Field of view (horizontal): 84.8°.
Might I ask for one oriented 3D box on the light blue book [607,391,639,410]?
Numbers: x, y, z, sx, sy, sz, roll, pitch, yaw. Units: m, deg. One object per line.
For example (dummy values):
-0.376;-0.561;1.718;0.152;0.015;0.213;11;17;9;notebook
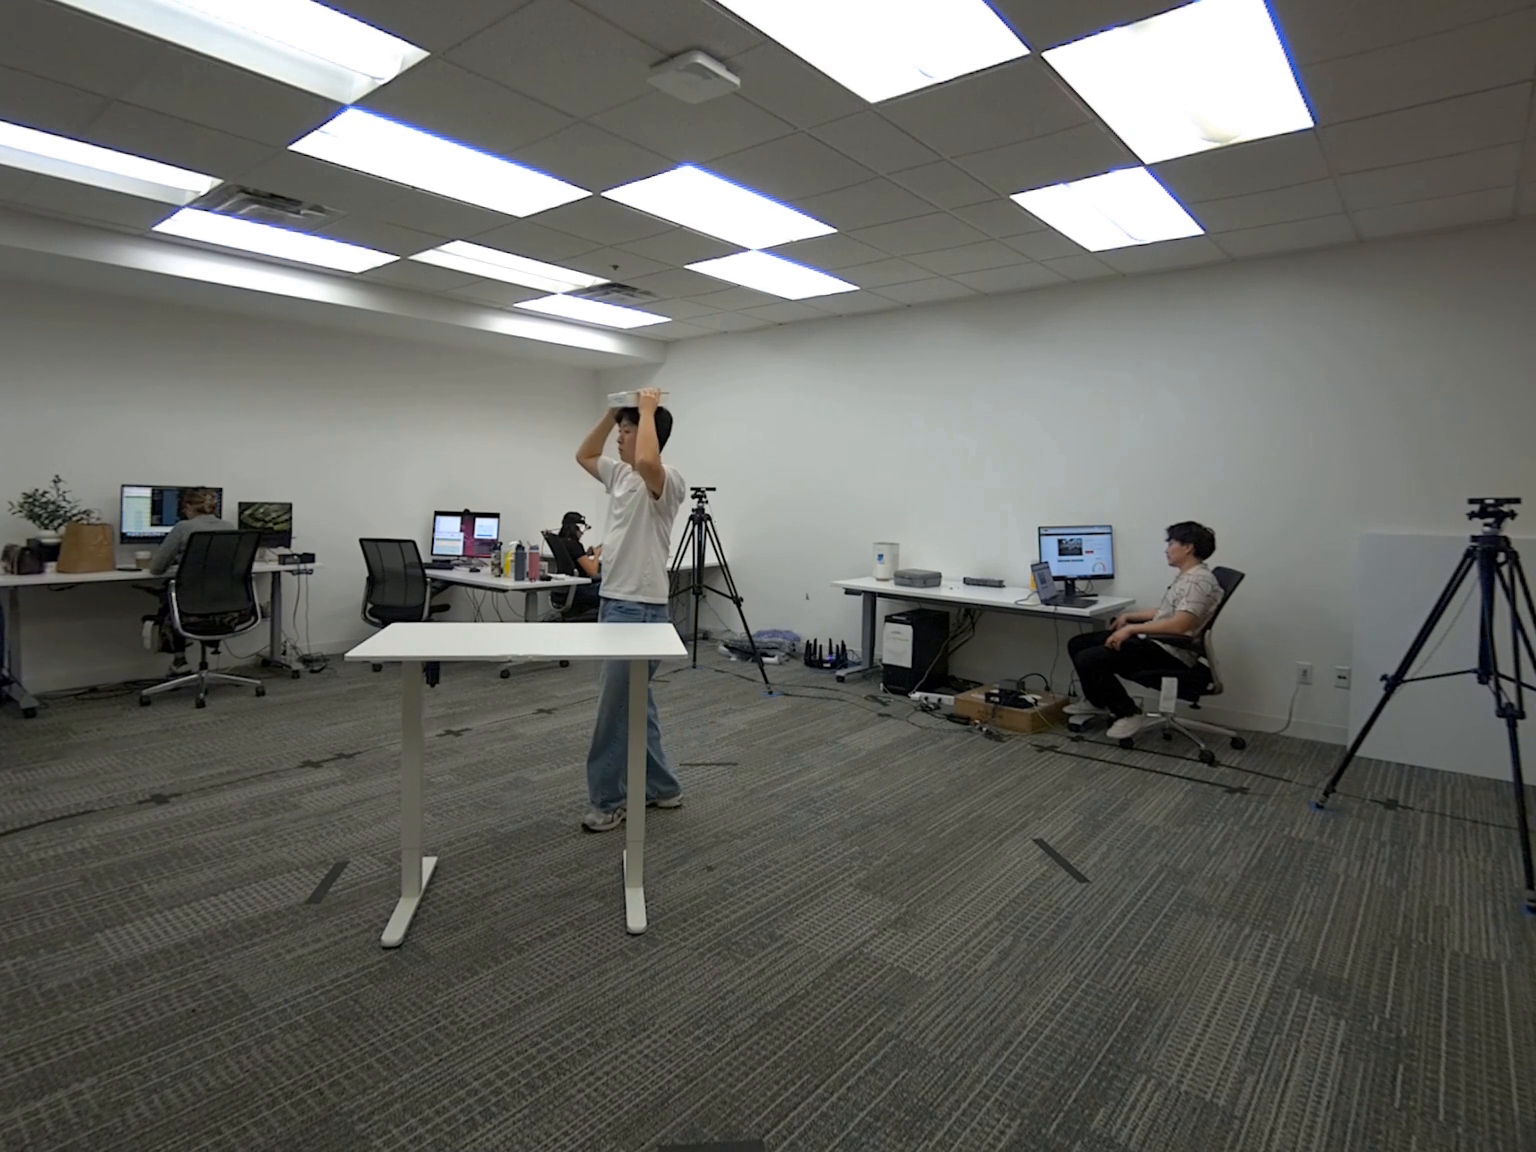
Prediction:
-0.544;-0.732;3.524;0.188;0.058;0.268;-5;11;-21;light blue book
